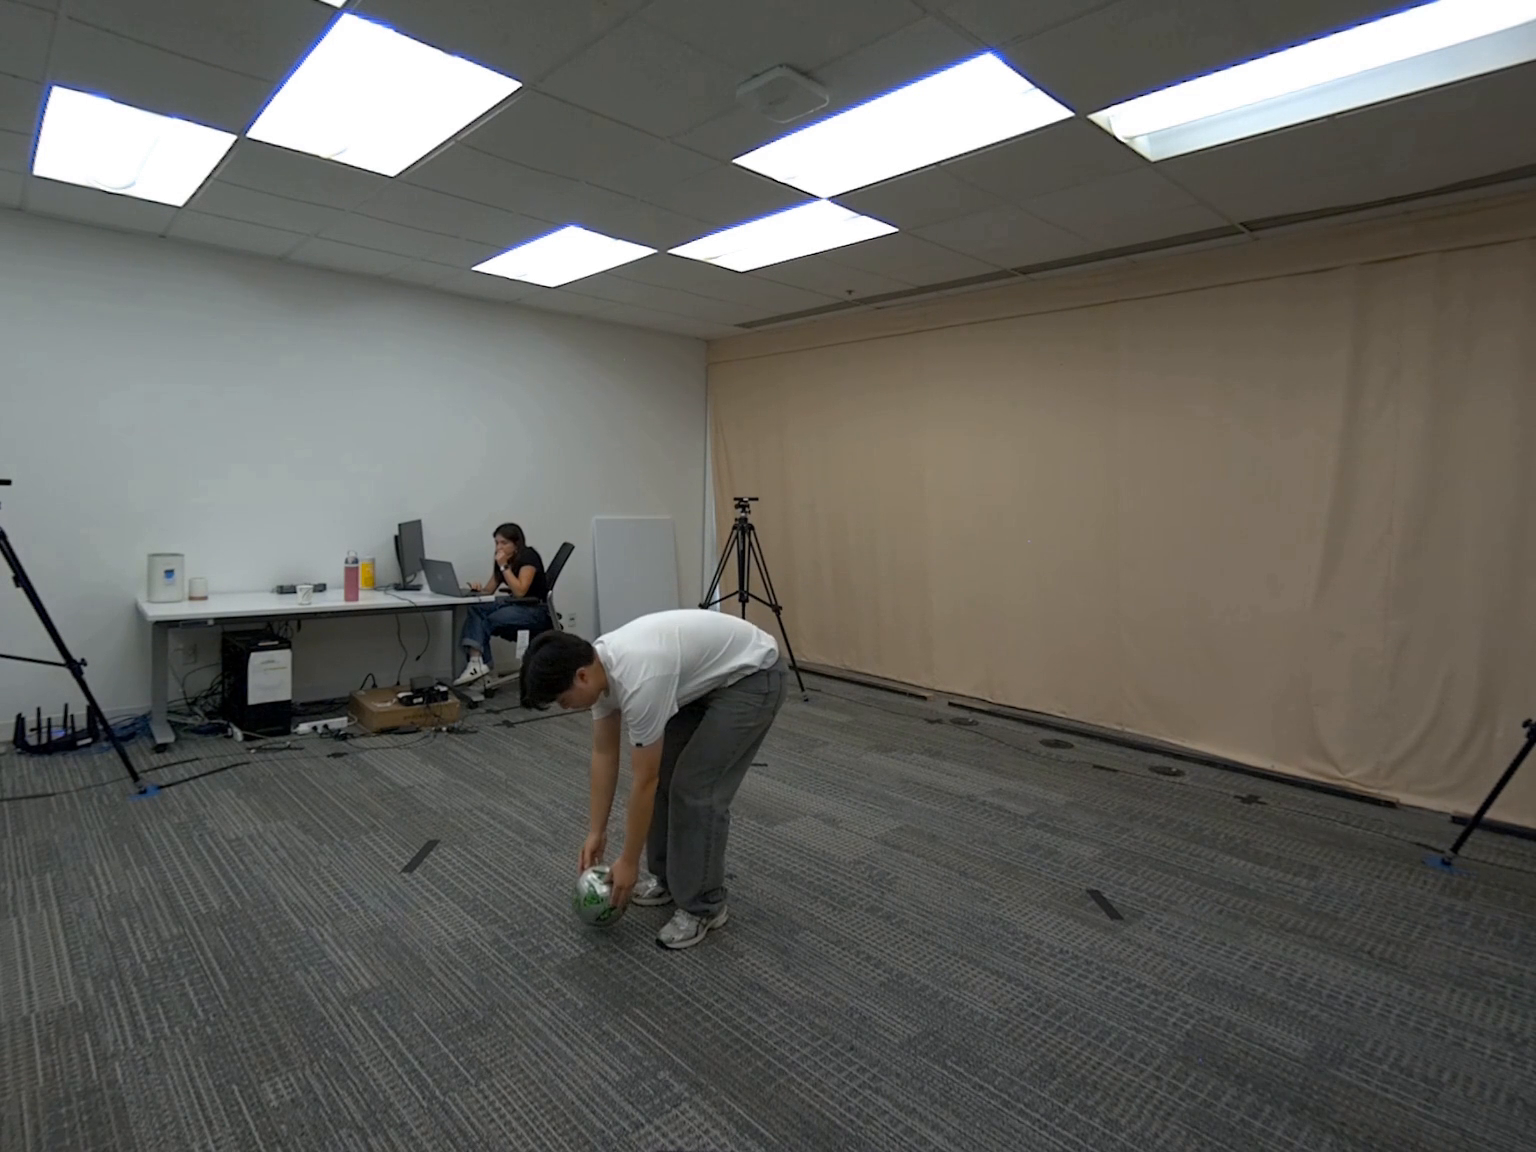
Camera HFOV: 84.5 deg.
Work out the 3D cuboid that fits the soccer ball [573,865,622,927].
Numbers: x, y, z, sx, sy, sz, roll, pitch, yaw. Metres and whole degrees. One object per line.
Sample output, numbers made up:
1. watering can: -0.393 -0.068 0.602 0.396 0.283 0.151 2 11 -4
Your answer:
1. soccer ball: -0.530 0.982 2.681 0.187 0.187 0.188 1 4 -1
